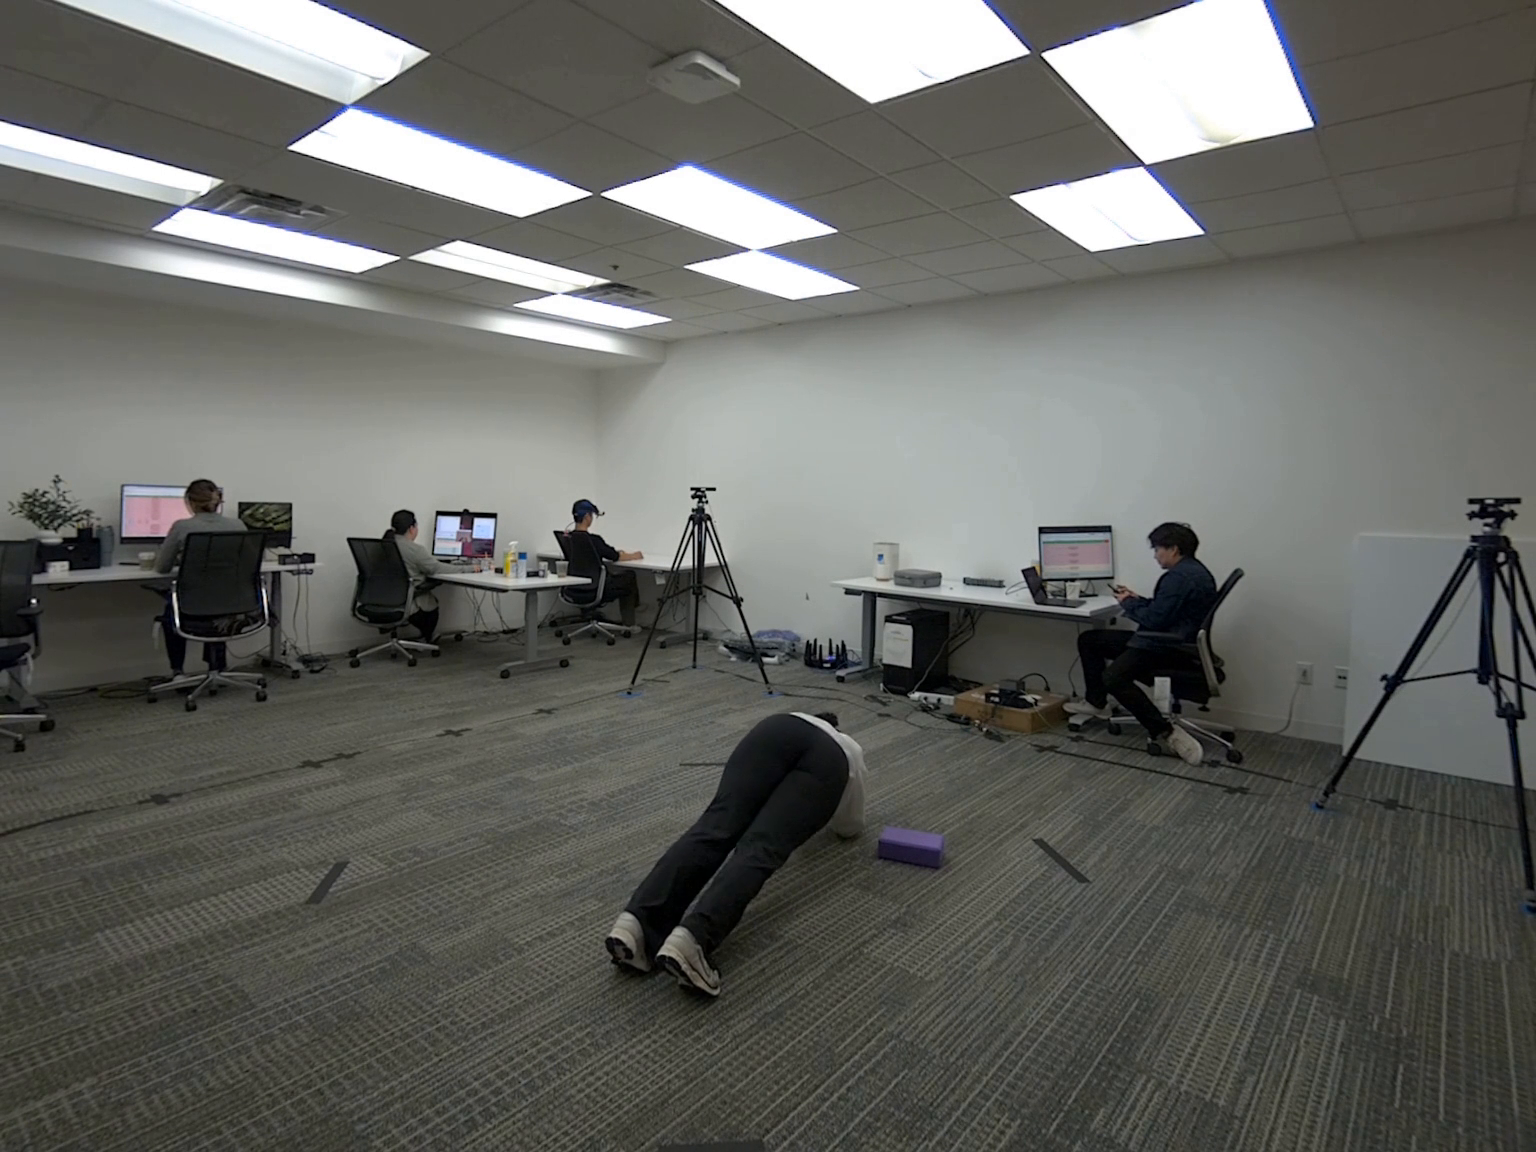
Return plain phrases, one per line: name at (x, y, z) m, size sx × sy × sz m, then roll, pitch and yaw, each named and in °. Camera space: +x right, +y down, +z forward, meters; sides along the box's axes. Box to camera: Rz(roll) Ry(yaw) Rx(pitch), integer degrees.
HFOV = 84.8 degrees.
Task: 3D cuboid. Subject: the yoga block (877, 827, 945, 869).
yoga block at (0.544, 1.033, 3.252) m, size 0.234 × 0.076 × 0.146 m, roll 3°, pitch 4°, yaw 20°
